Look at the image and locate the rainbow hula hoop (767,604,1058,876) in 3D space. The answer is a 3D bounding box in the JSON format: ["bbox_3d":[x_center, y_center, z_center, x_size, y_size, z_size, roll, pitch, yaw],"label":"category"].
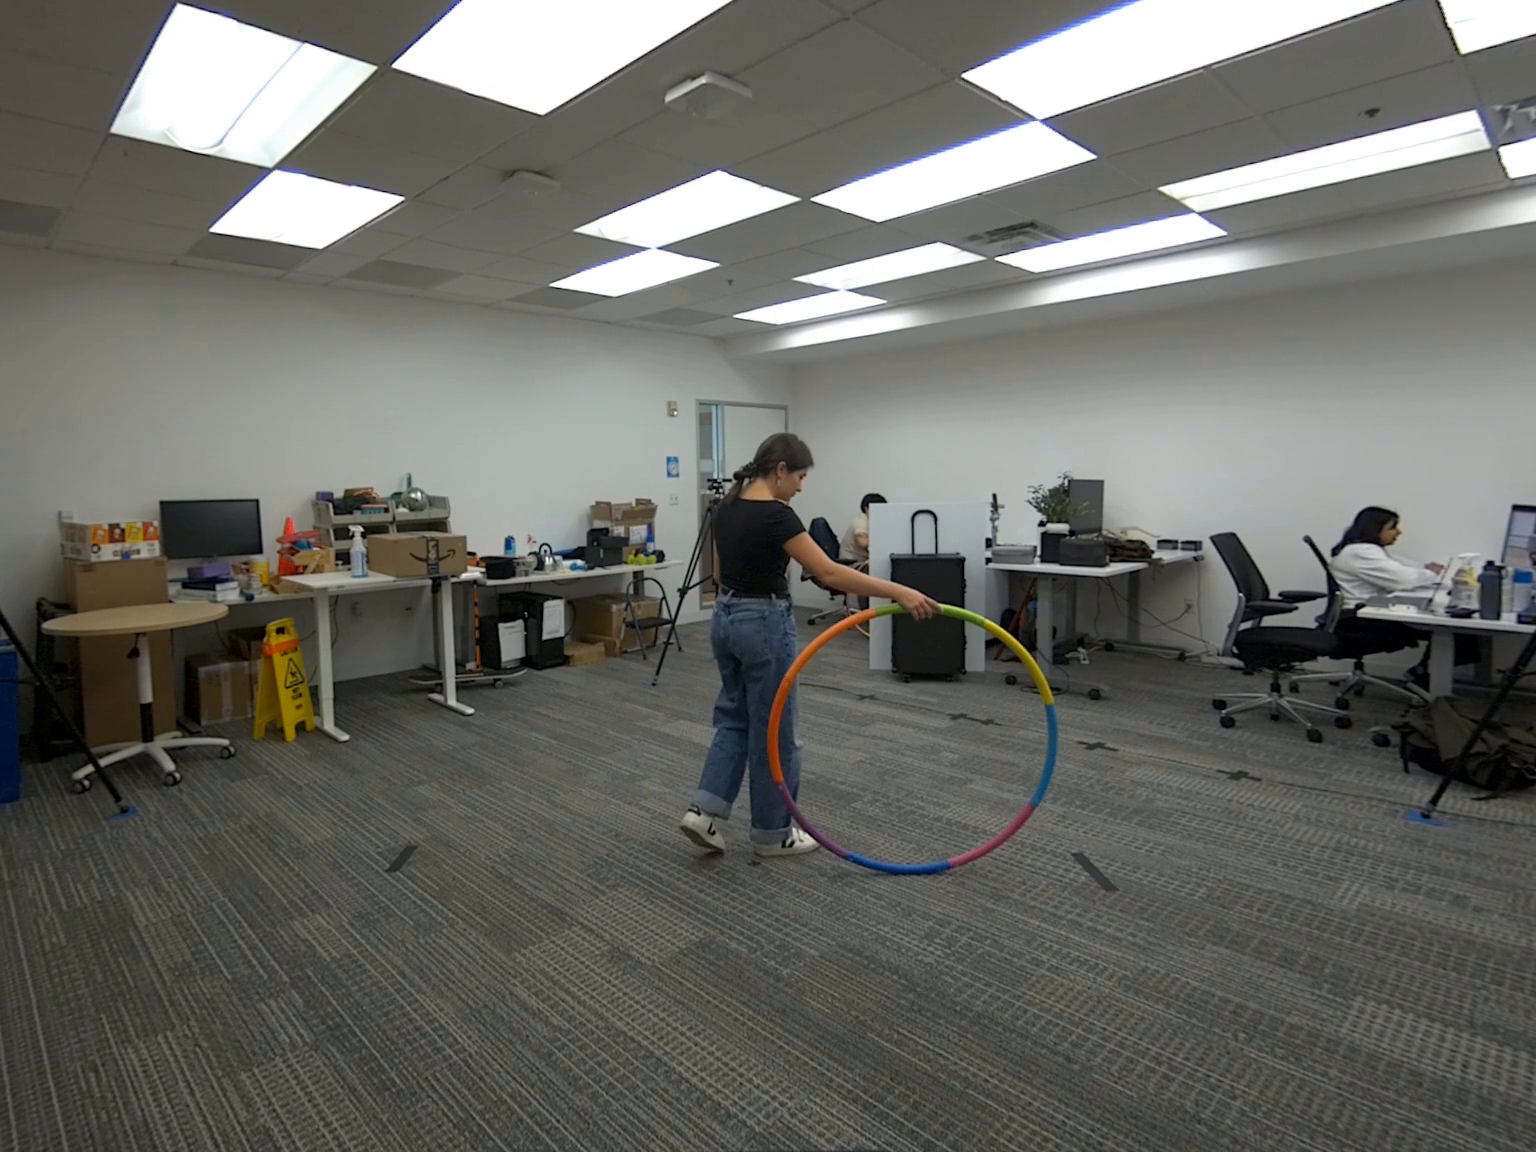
[{"bbox_3d":[0.497,0.567,2.956,0.978,0.971,0.036,-1,8,0],"label":"rainbow hula hoop"}]
